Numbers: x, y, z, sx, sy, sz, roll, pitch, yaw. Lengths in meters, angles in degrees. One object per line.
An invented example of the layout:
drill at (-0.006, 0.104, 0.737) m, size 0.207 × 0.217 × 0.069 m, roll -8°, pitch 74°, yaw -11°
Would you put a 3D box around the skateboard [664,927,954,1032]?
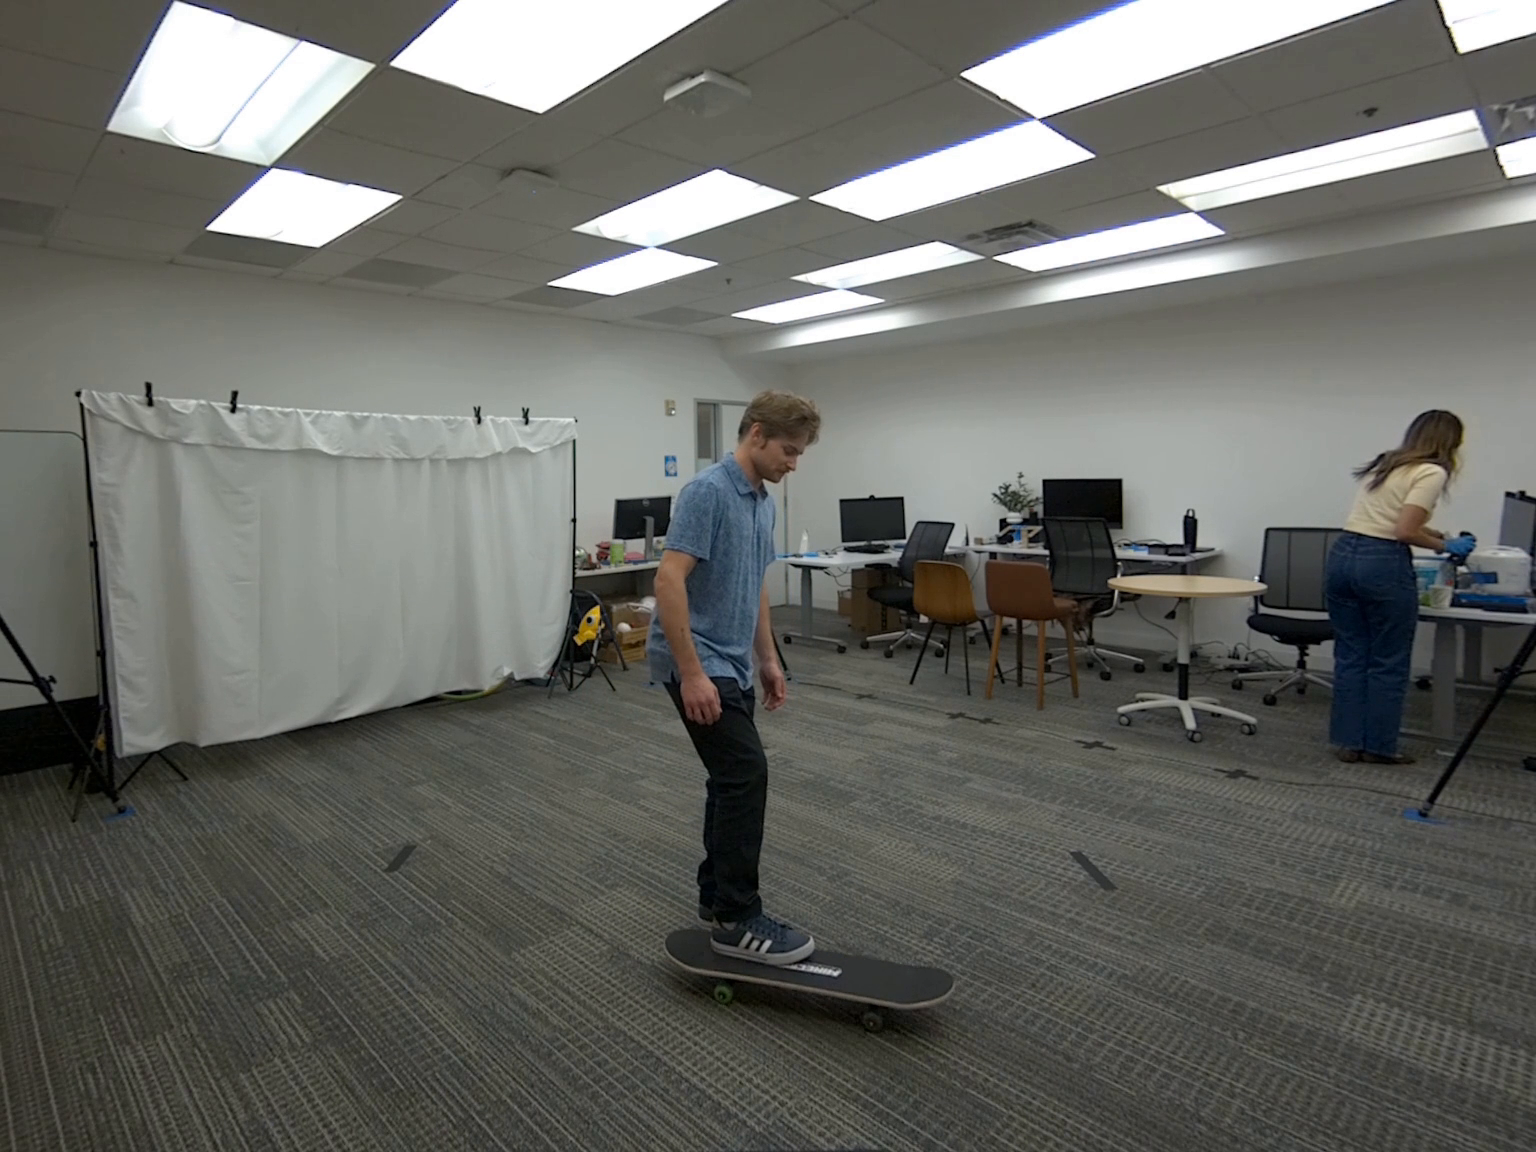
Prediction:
skateboard at (0.102, 1.074, 2.296) m, size 0.799 × 0.110 × 0.191 m, roll 1°, pitch 5°, yaw 19°
